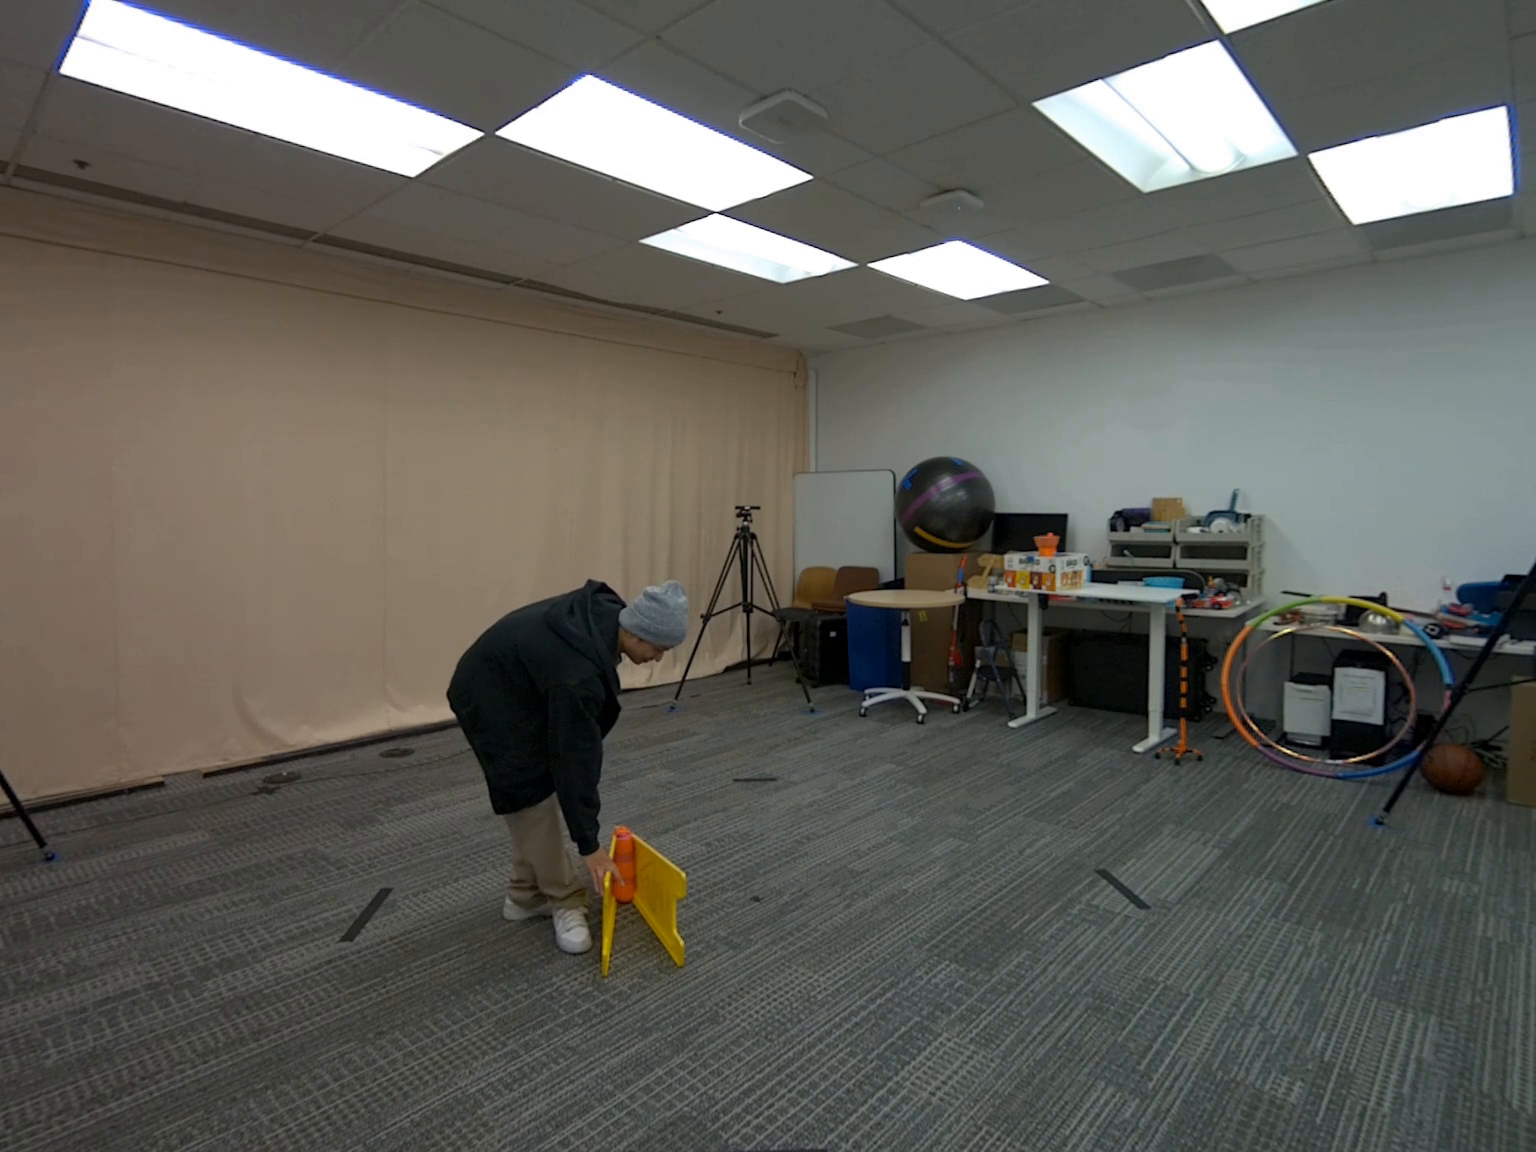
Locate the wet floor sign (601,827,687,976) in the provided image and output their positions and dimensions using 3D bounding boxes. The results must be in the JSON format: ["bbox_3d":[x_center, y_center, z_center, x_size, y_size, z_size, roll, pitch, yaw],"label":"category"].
[{"bbox_3d":[-0.470,1.033,2.823,0.285,0.282,0.657,0,1,-16],"label":"wet floor sign"}]
